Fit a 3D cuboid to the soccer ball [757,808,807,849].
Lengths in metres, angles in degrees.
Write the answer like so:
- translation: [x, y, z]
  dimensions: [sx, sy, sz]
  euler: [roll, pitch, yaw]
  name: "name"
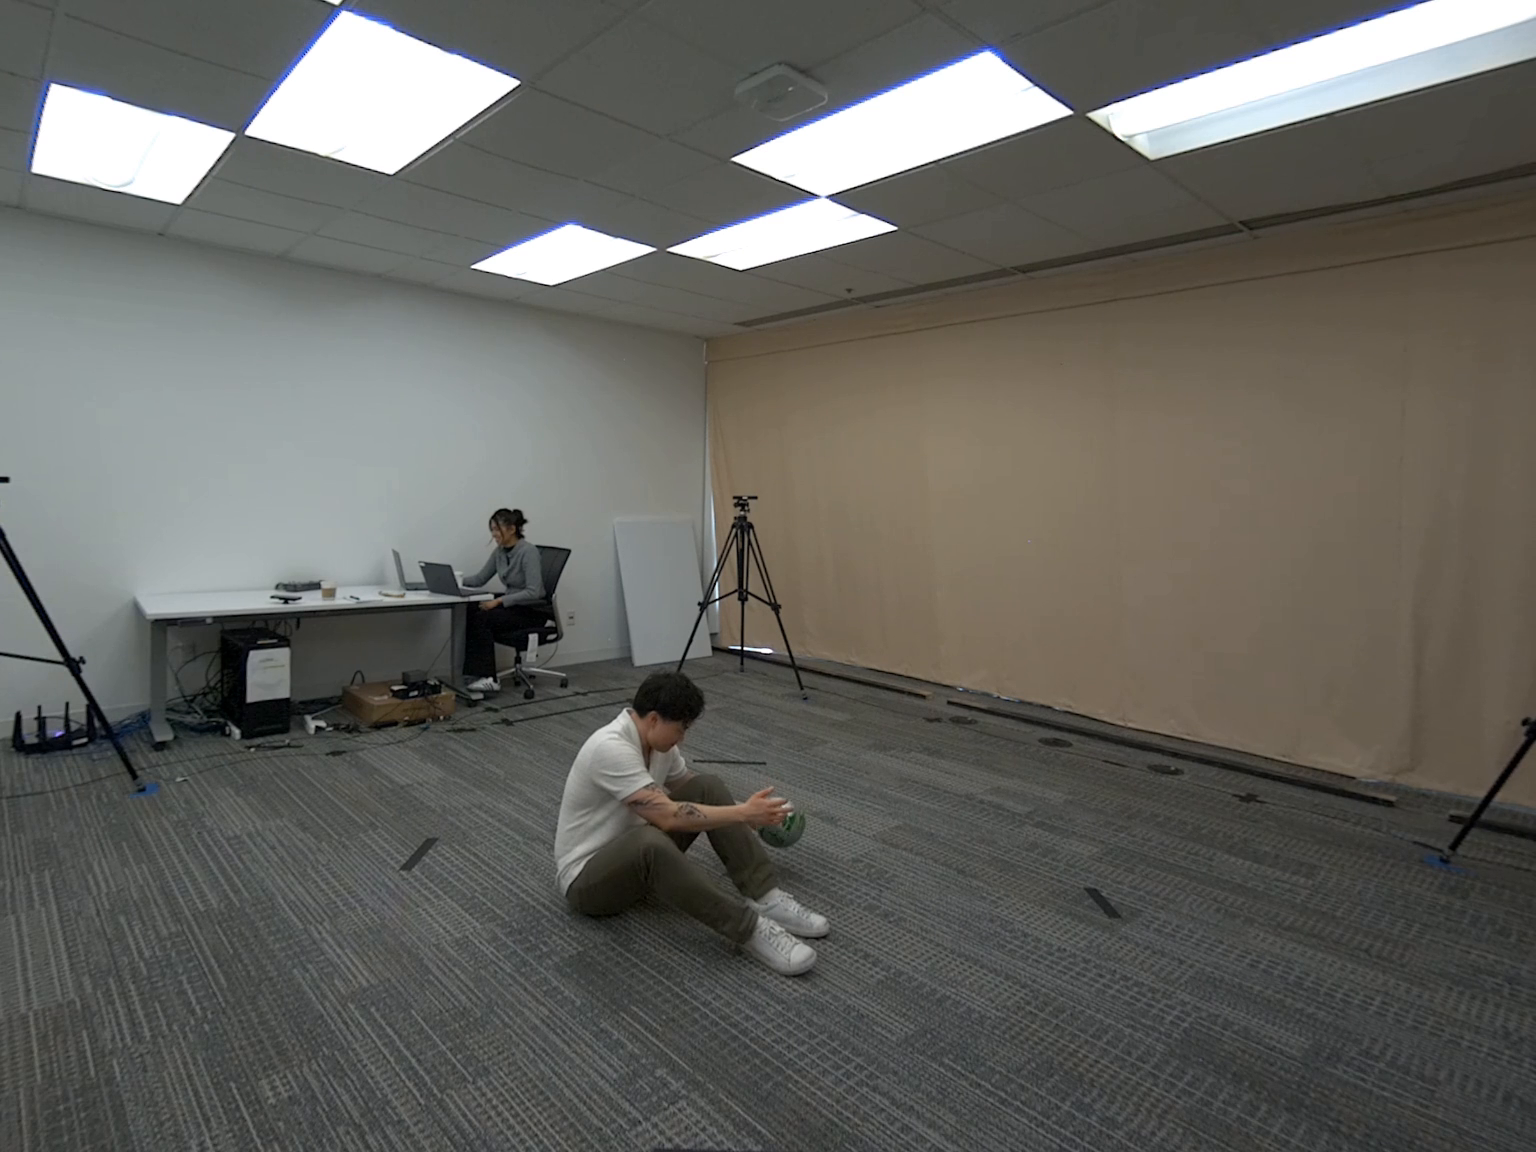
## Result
- translation: [0.033, 0.915, 3.133]
  dimensions: [0.187, 0.187, 0.188]
  euler: [1, 4, -1]
  name: "soccer ball"
